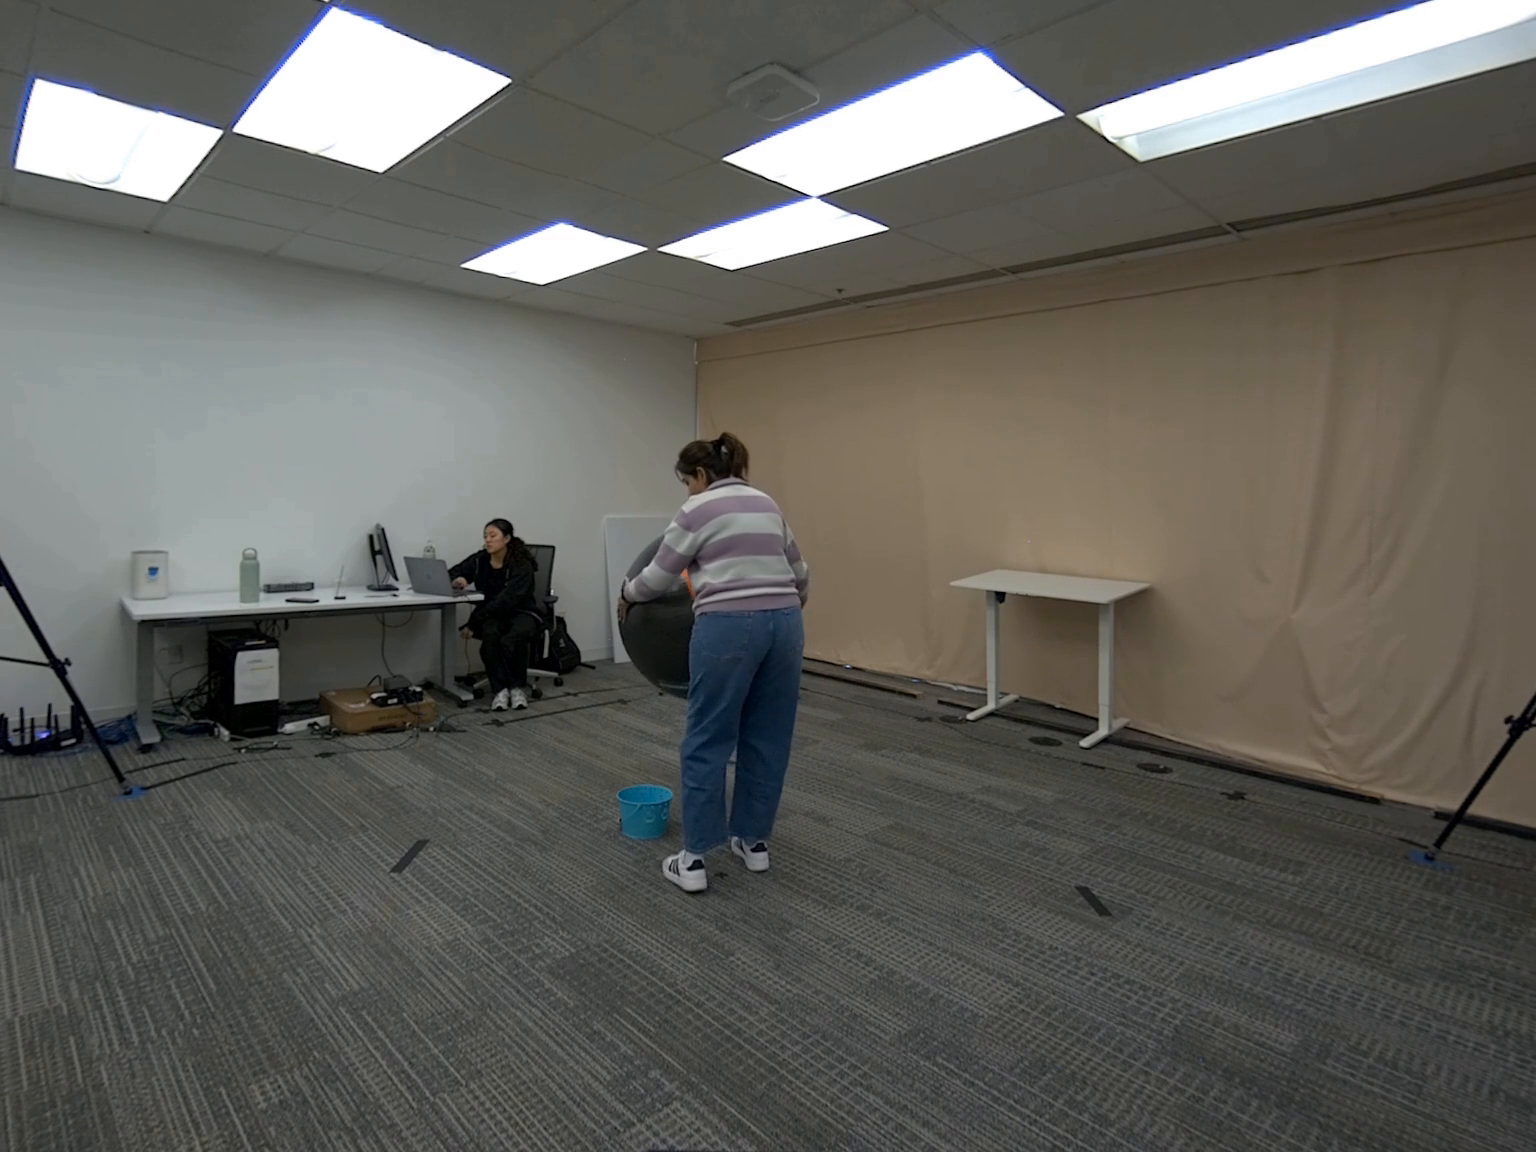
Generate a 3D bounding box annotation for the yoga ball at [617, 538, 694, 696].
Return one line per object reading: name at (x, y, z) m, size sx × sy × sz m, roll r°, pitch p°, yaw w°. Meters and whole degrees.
yoga ball at (-0.286, 0.163, 3.619) m, size 0.757 × 0.756 × 0.761 m, roll 1°, pitch 4°, yaw -1°
